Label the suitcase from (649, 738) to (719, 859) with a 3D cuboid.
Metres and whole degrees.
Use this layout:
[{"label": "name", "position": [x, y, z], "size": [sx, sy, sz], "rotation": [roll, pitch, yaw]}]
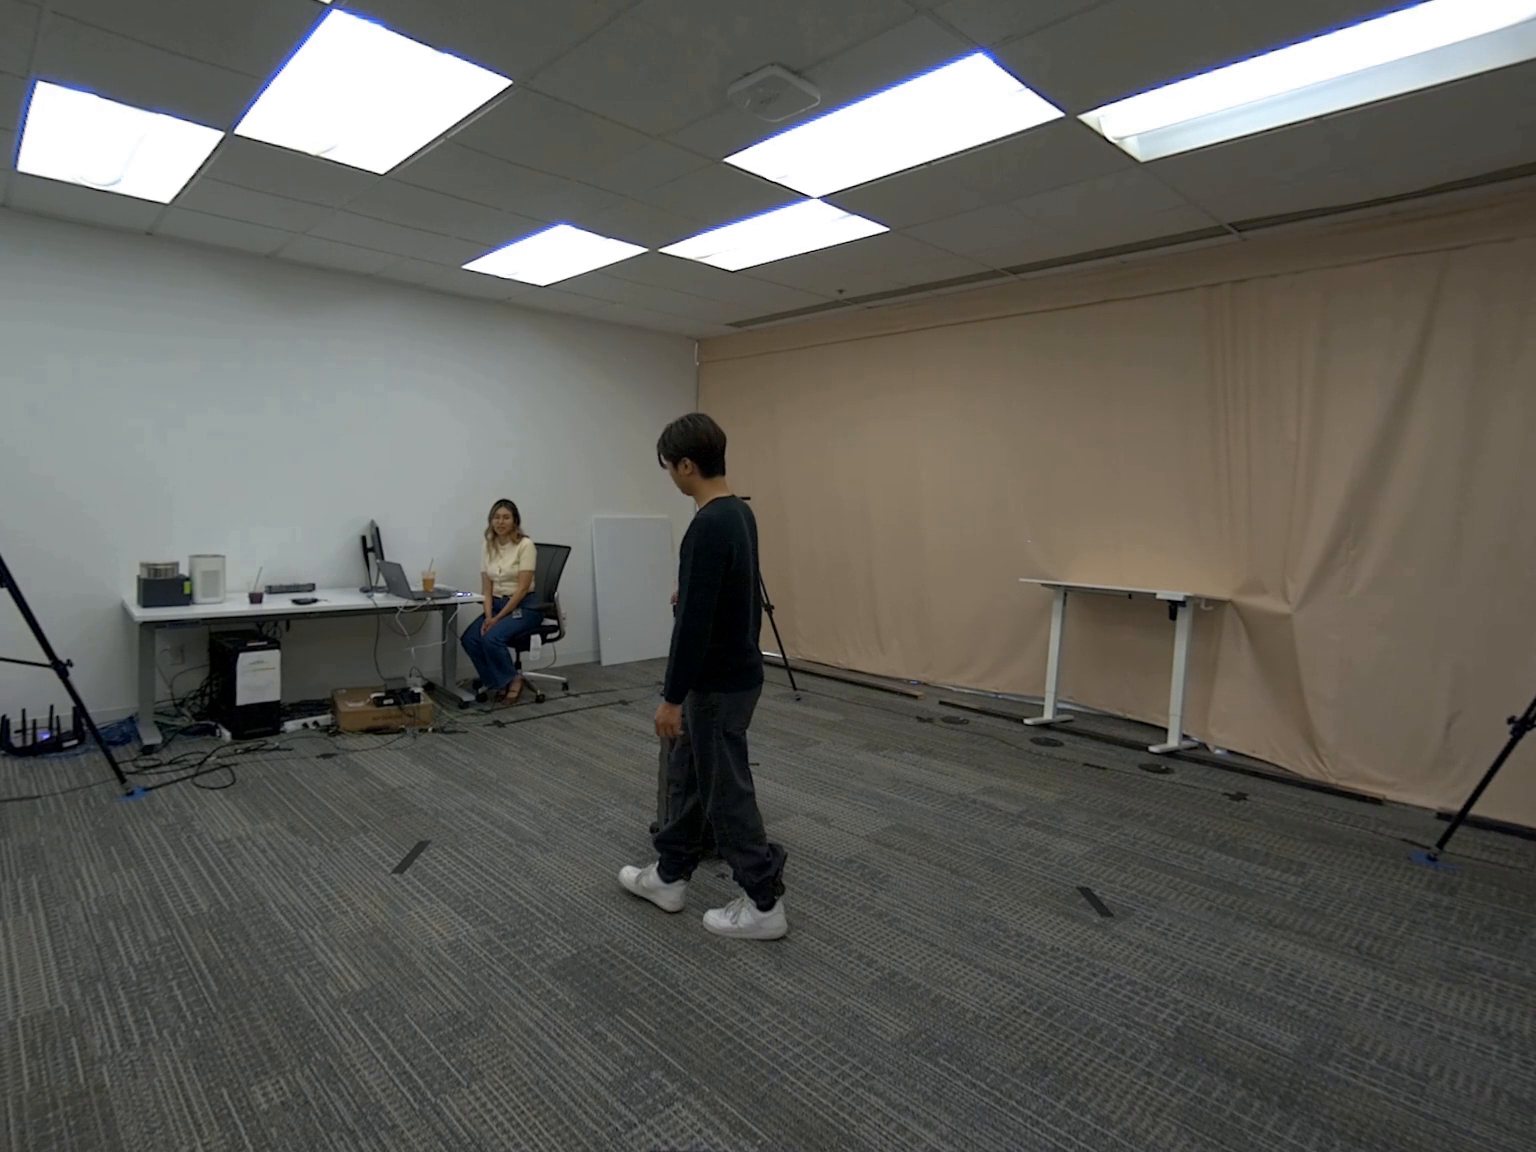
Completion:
[{"label": "suitcase", "position": [-0.286, 0.614, 3.331], "size": [0.255, 0.976, 0.388], "rotation": [4, 3, -11]}]
